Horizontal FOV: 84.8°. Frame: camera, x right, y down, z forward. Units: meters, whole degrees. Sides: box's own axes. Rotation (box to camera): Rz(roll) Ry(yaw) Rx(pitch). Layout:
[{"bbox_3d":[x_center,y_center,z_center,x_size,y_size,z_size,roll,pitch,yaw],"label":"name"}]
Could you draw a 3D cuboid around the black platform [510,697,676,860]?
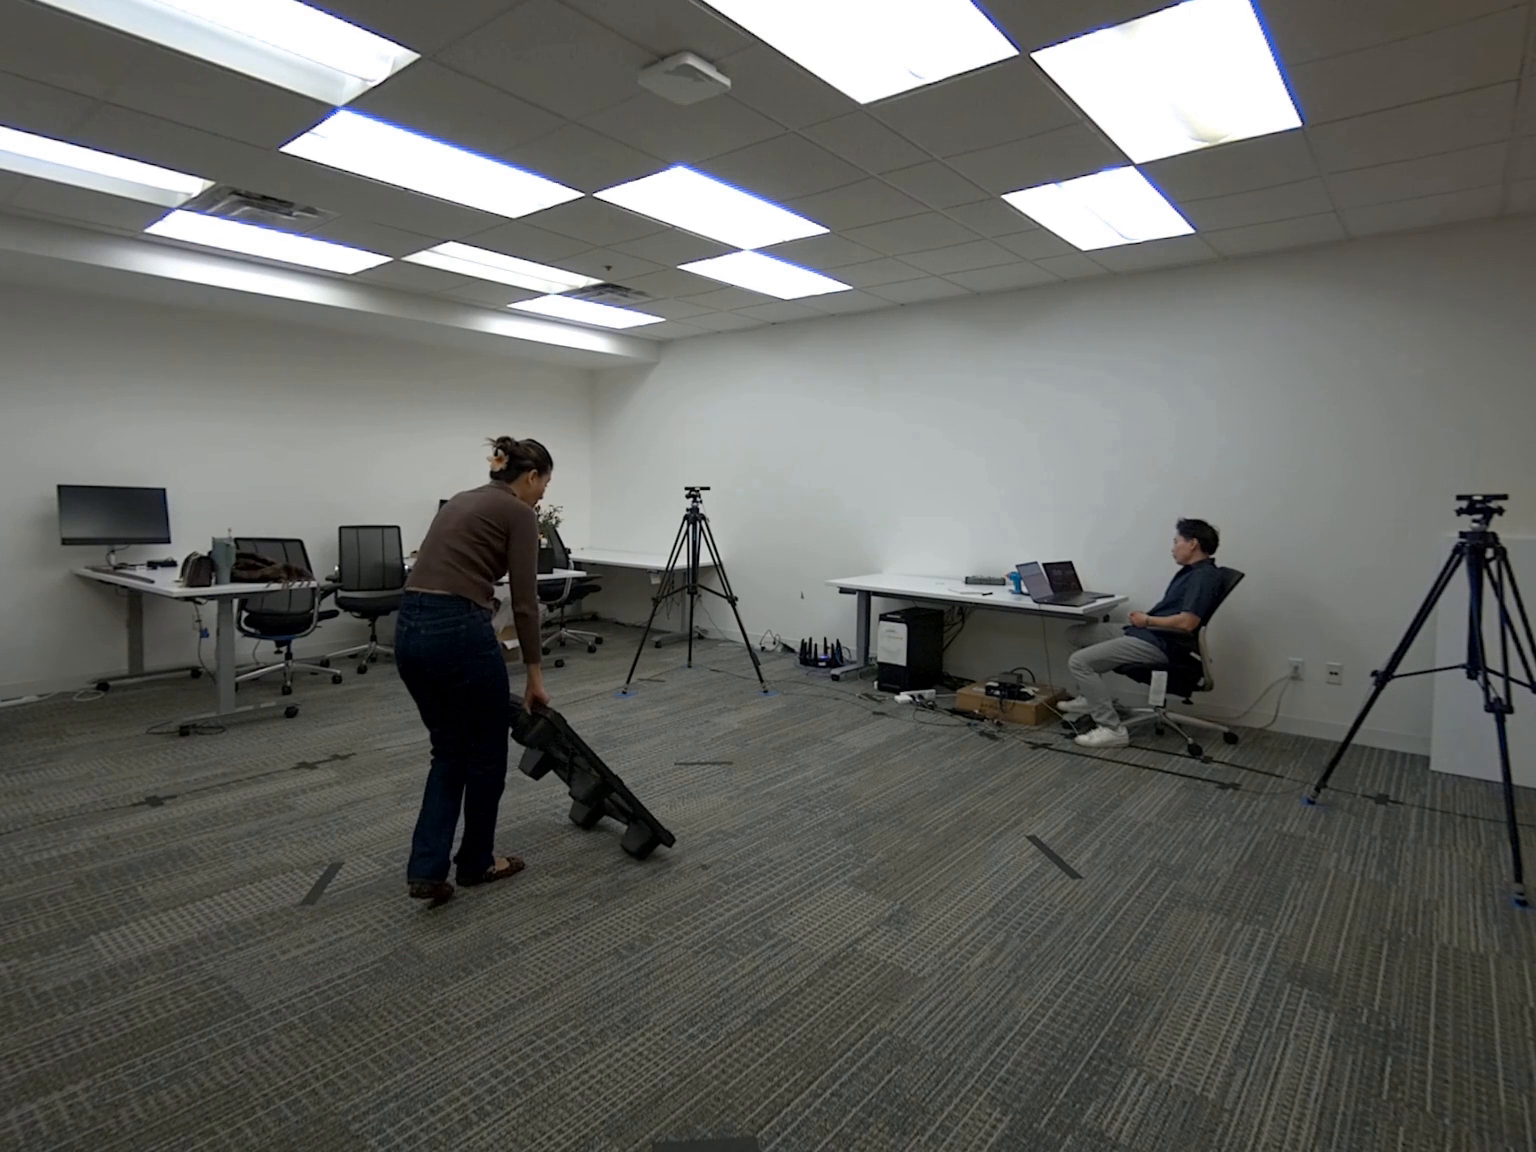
[{"bbox_3d":[-0.782,0.731,3.190,0.625,0.778,0.143,4,45,47],"label":"black platform"}]
